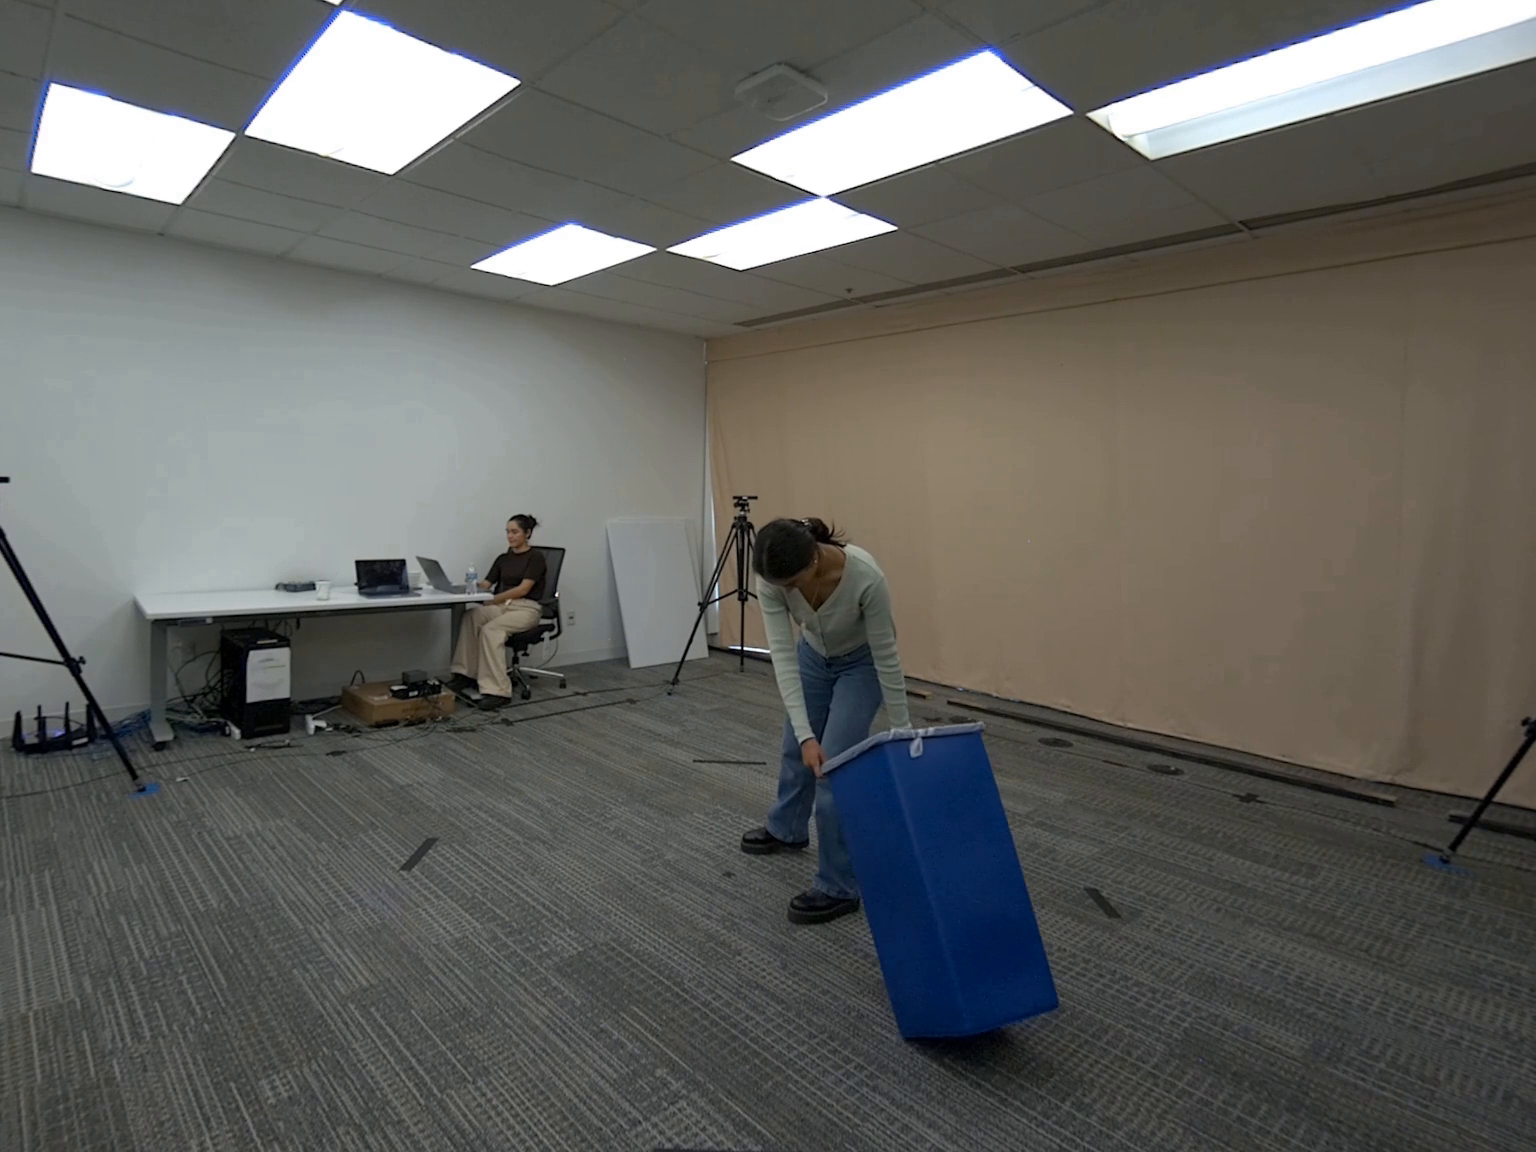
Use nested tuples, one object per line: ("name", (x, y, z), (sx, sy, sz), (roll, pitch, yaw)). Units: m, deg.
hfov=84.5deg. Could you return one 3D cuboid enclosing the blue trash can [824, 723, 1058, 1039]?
("blue trash can", (0.433, 0.815, 2.285), (0.371, 0.728, 0.374), (2, -28, -27))
